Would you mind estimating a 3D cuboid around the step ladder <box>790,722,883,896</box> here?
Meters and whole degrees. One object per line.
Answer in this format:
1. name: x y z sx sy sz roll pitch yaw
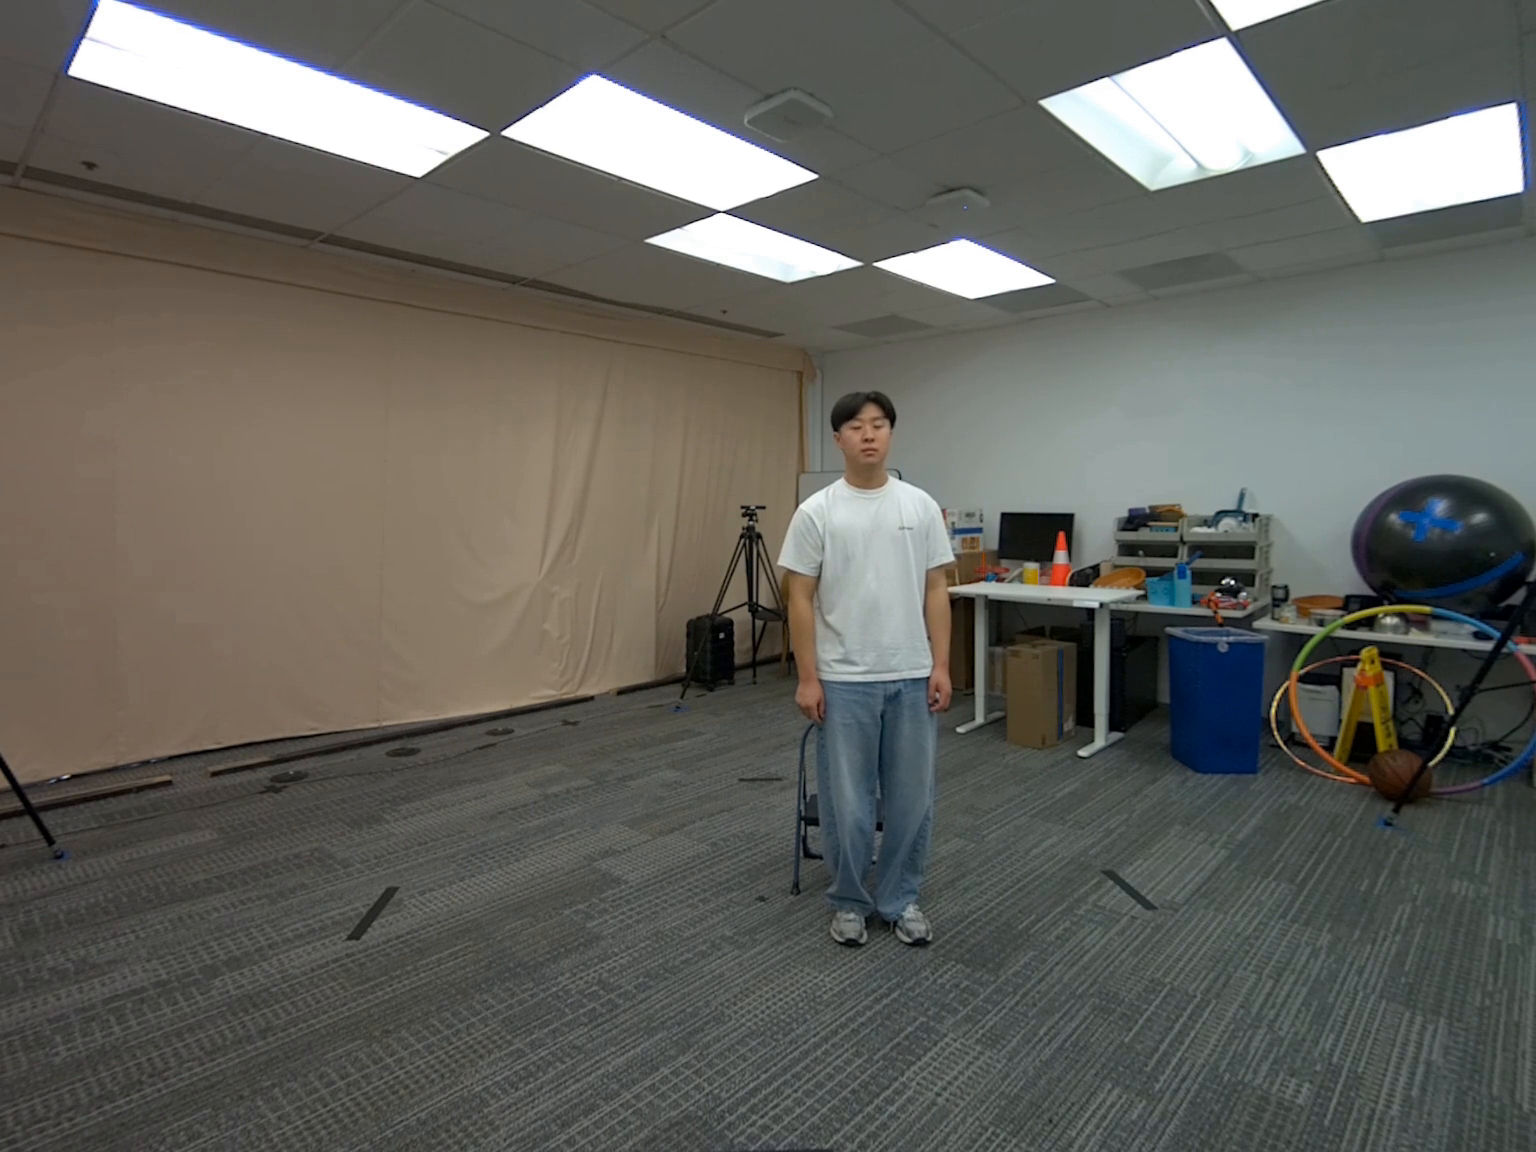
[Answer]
1. step ladder: 0.327 0.829 3.125 0.436 0.605 0.346 1 4 10
